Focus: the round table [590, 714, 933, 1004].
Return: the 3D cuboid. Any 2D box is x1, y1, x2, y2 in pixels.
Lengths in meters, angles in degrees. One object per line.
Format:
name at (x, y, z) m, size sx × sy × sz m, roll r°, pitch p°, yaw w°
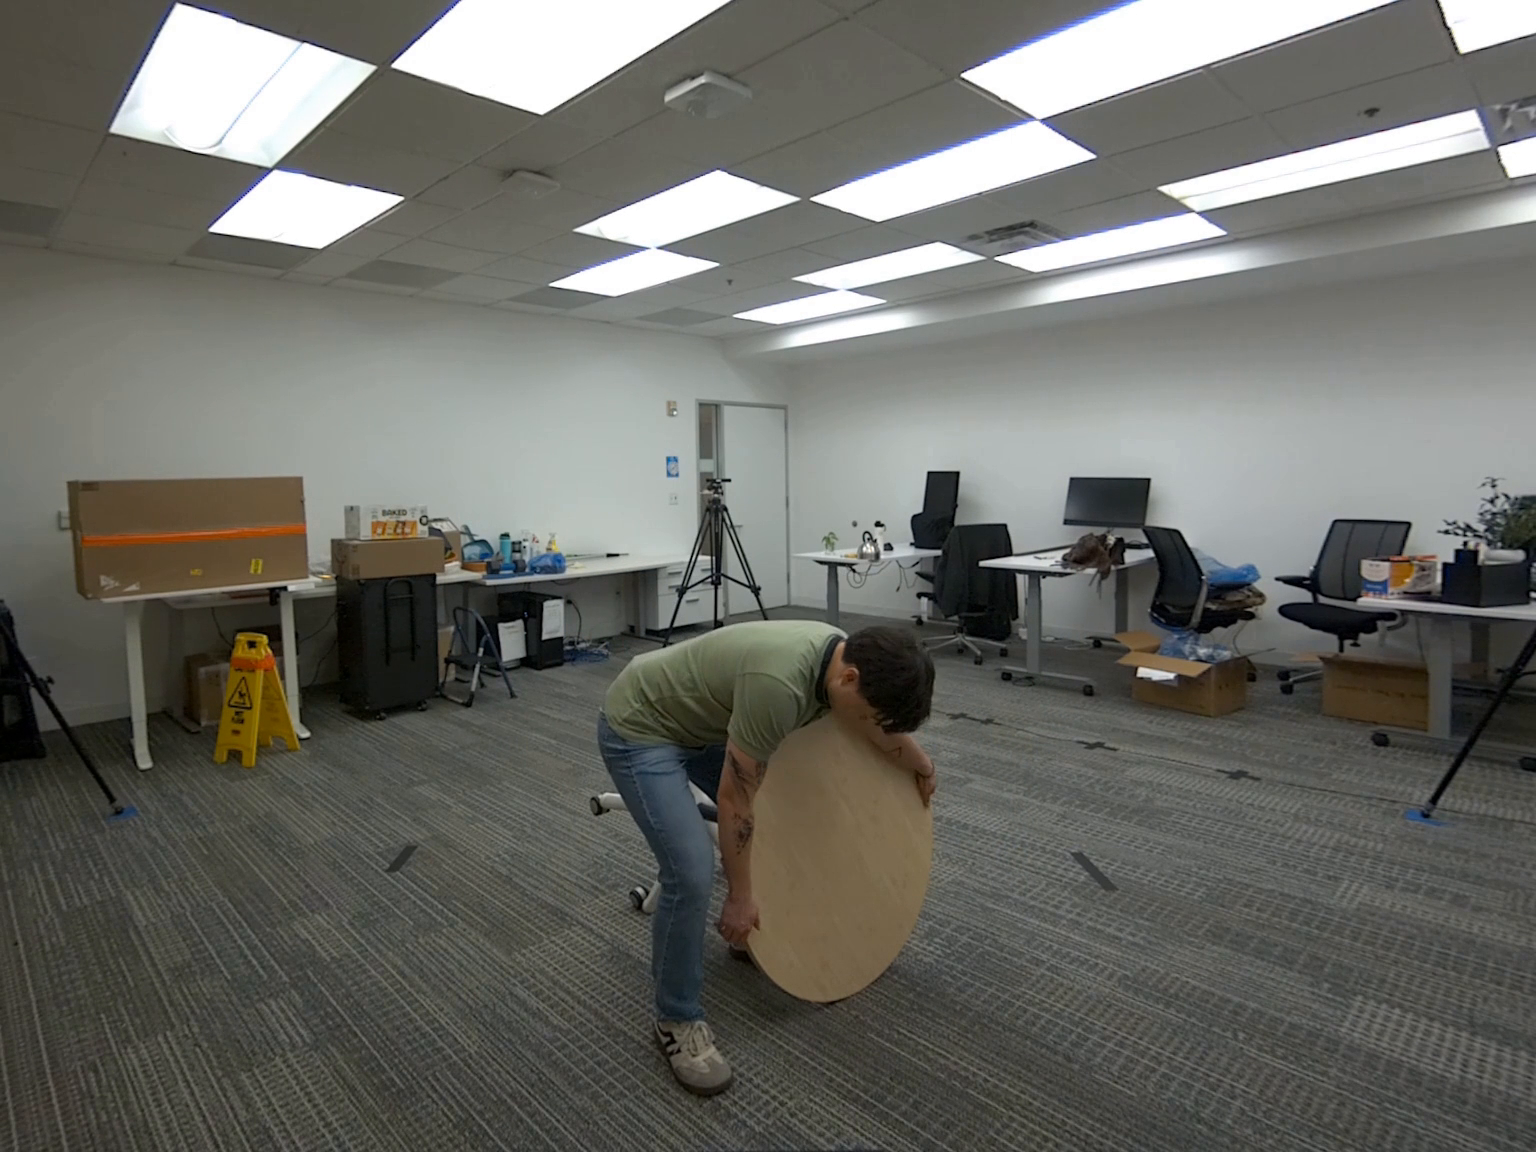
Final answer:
round table at (-0.045, 0.767, 2.652) m, size 0.744 × 0.765 × 0.814 m, roll -5°, pitch 0°, yaw -40°
